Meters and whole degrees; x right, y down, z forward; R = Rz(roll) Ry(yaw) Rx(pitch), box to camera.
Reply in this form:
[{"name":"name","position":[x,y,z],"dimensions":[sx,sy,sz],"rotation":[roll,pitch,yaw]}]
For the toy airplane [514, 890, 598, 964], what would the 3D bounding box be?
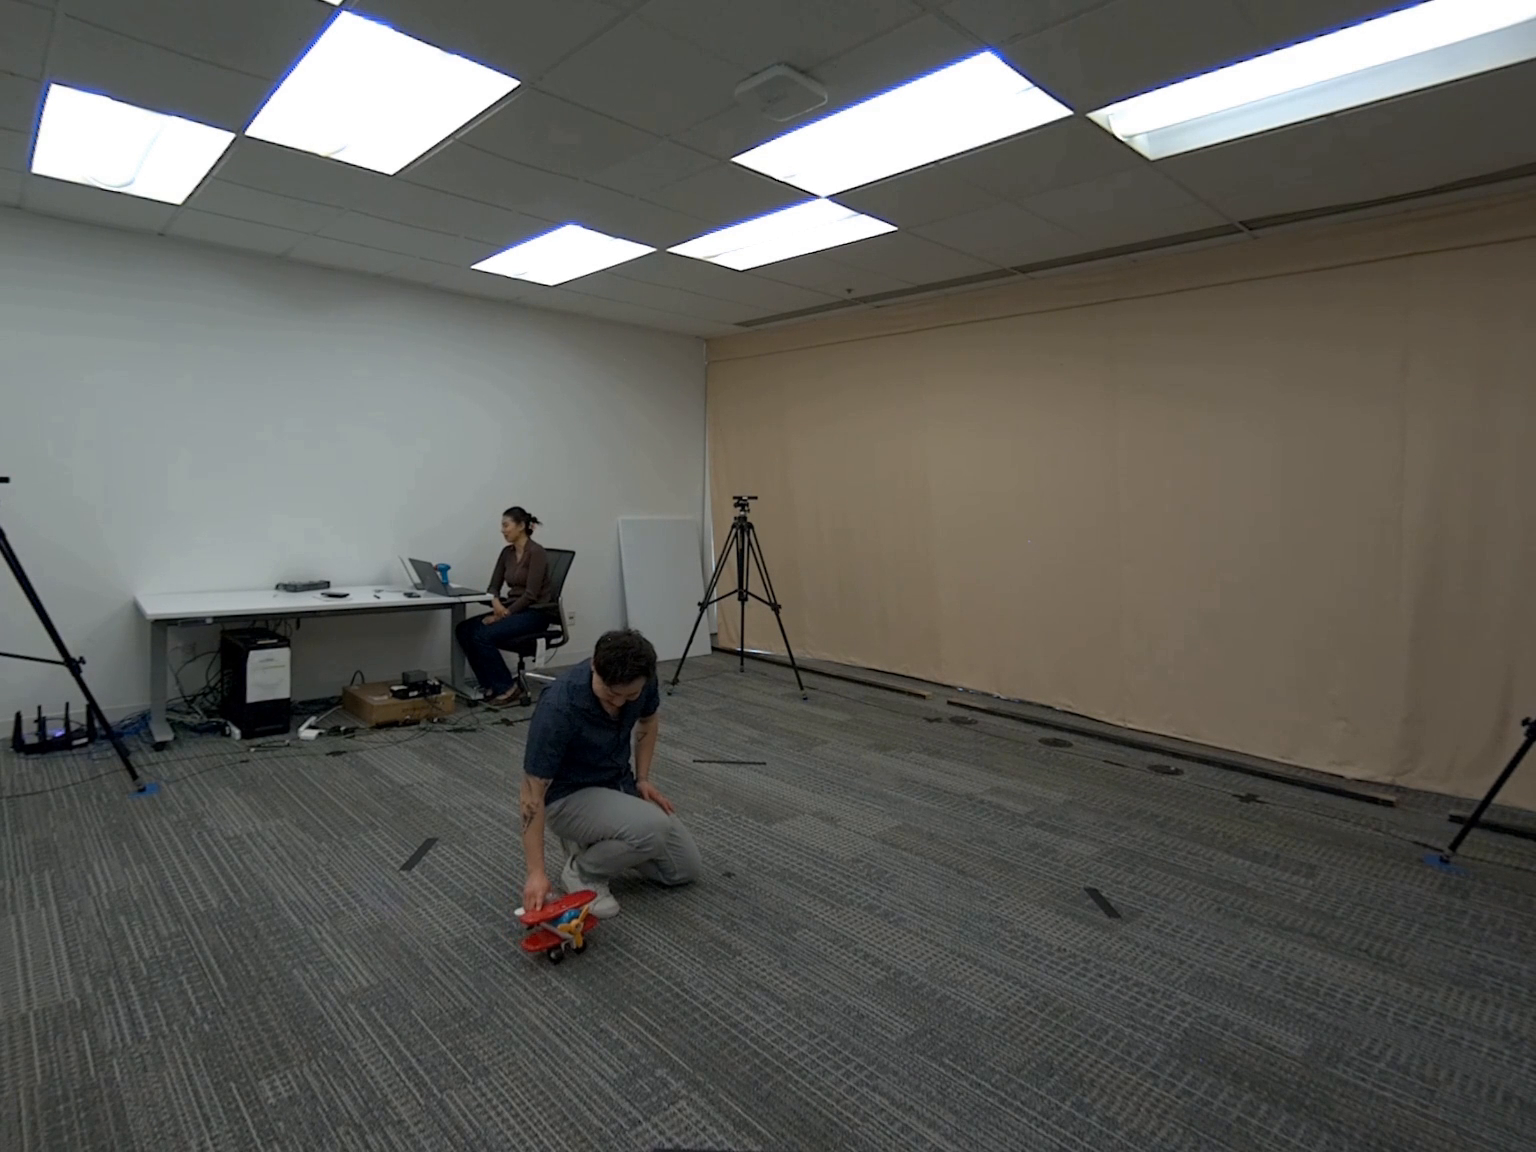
[{"name":"toy airplane","position":[-0.680,1.060,2.555],"dimensions":[0.262,0.155,0.250],"rotation":[10,12,13]}]
